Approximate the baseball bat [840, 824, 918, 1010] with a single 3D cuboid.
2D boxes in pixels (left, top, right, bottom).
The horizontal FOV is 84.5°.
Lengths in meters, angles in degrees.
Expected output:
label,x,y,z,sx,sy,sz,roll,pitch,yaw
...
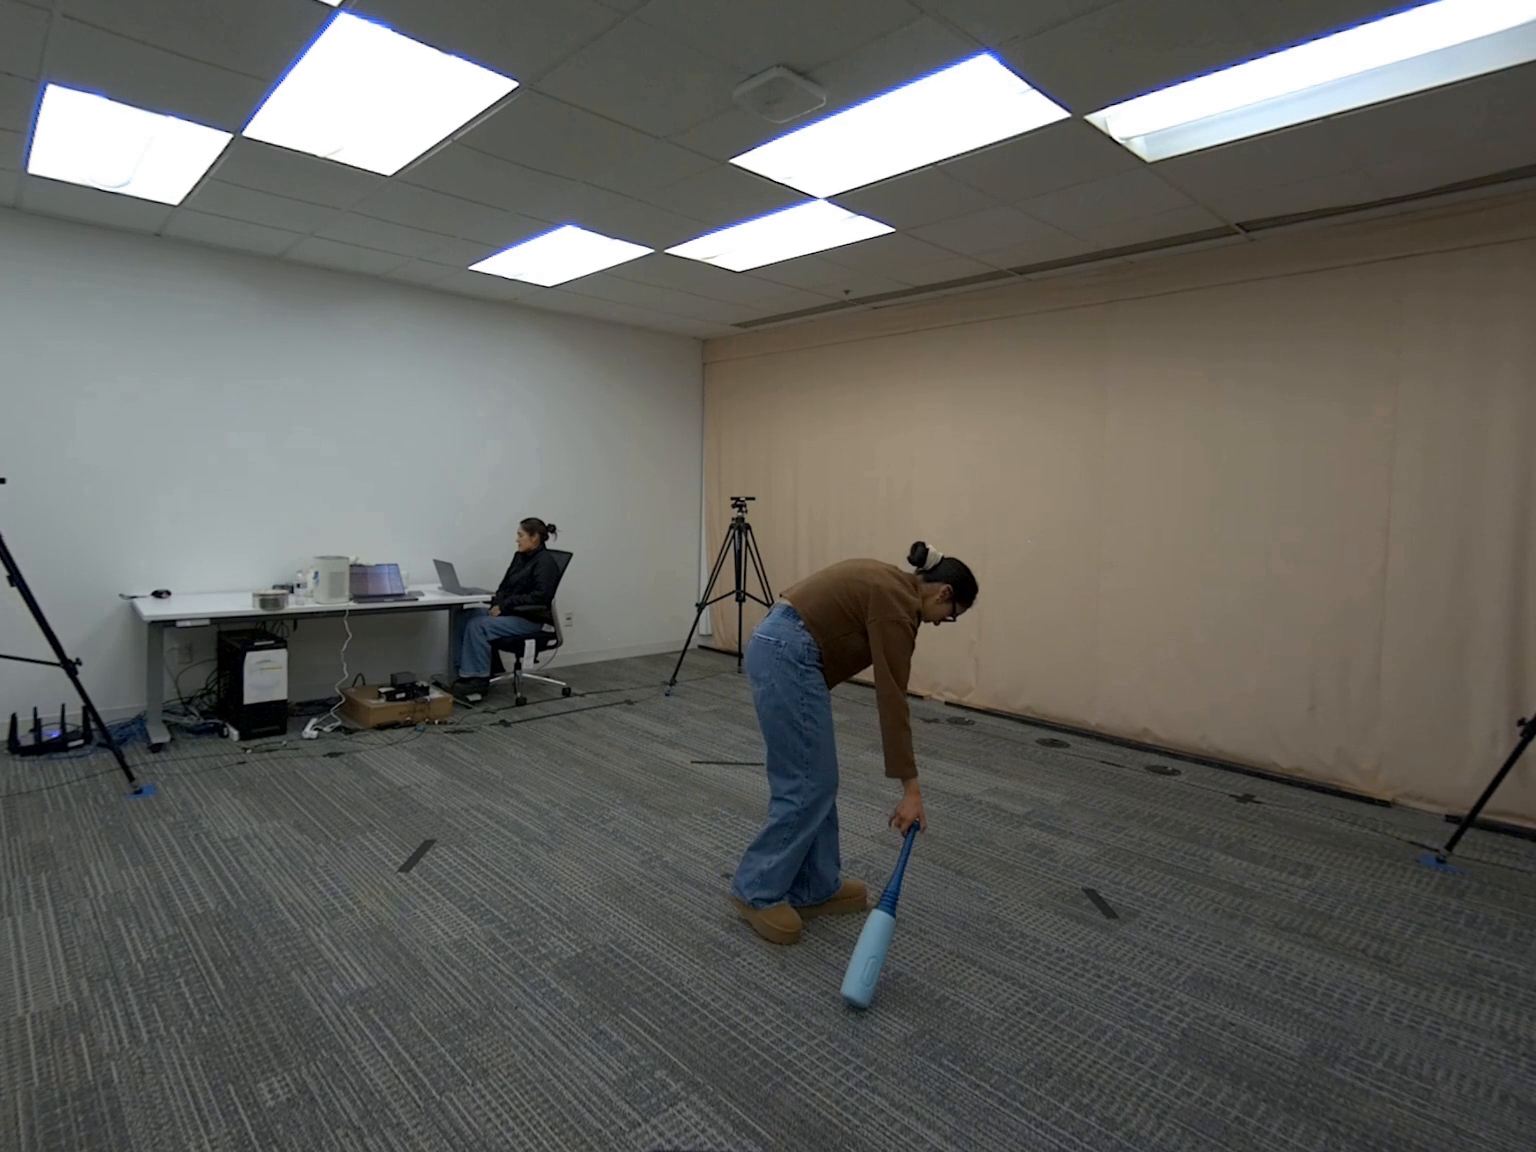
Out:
label,x,y,z,sx,sy,sz,roll,pitch,yaw
baseball bat,0.334,0.964,2.426,0.090,0.546,0.087,21,-31,12
